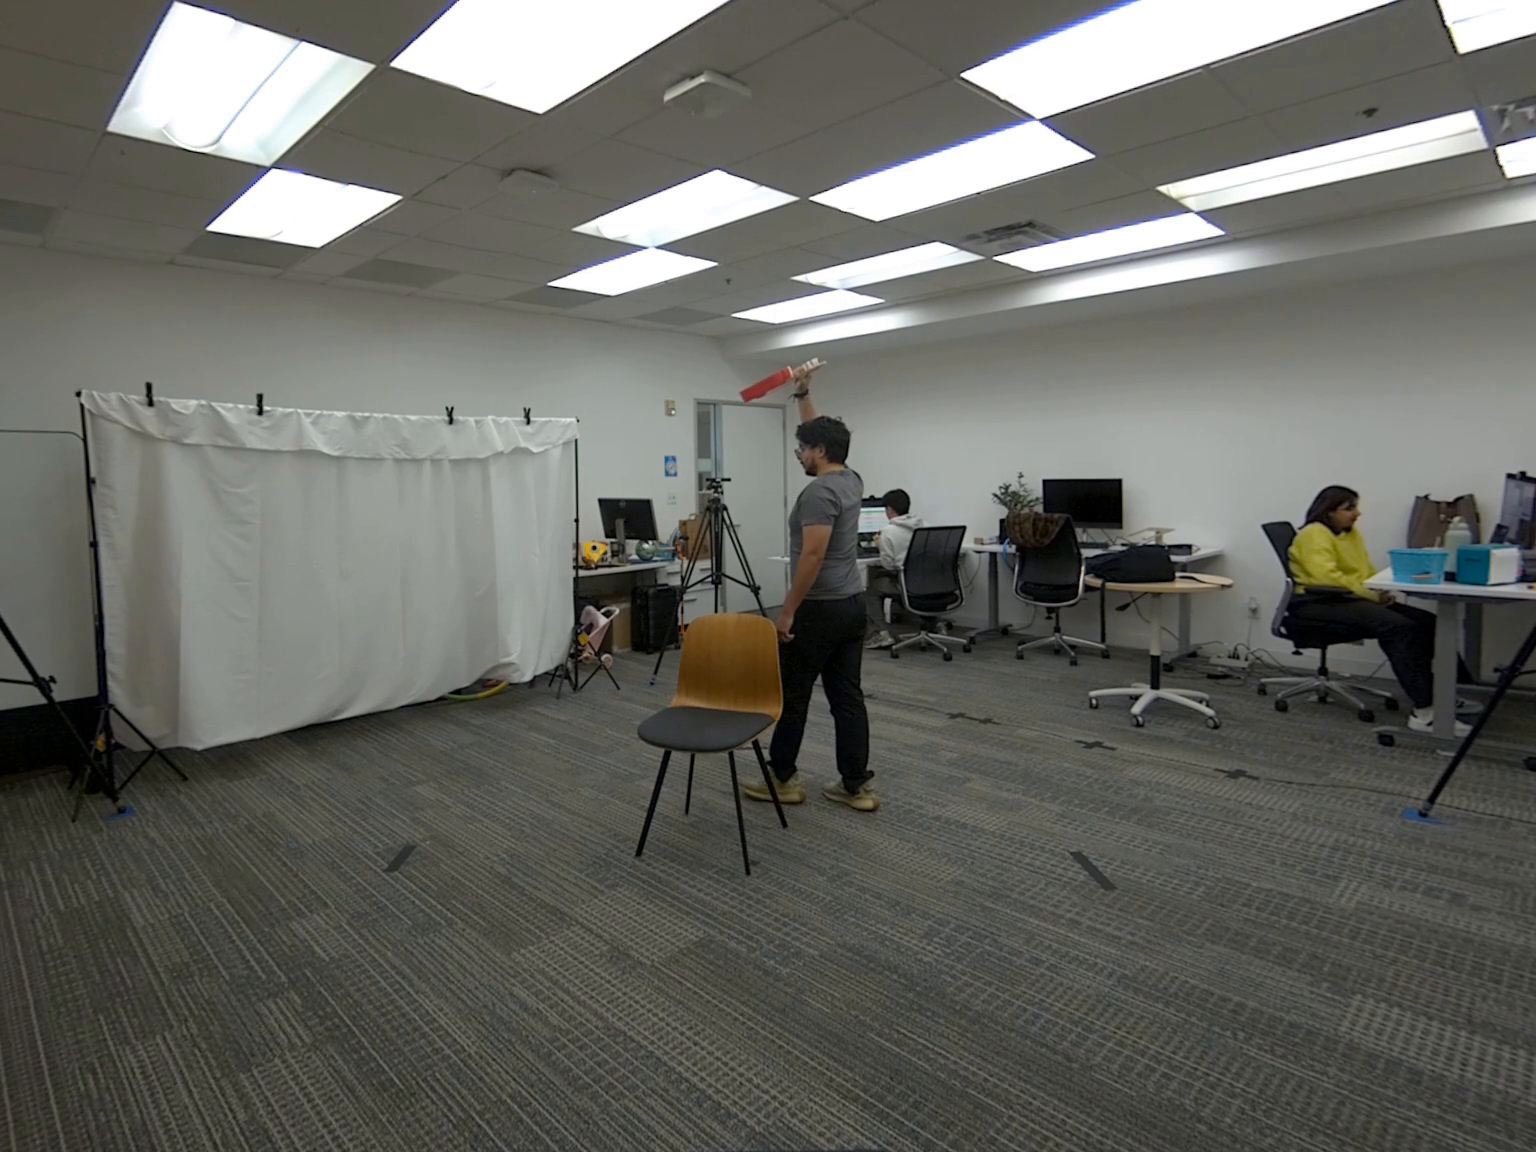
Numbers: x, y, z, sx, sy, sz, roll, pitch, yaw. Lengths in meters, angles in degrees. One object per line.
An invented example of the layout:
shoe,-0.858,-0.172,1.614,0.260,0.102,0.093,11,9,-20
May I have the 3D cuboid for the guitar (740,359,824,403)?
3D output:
guitar,0.092,-0.912,3.866,0.507,0.070,0.191,-16,16,44
